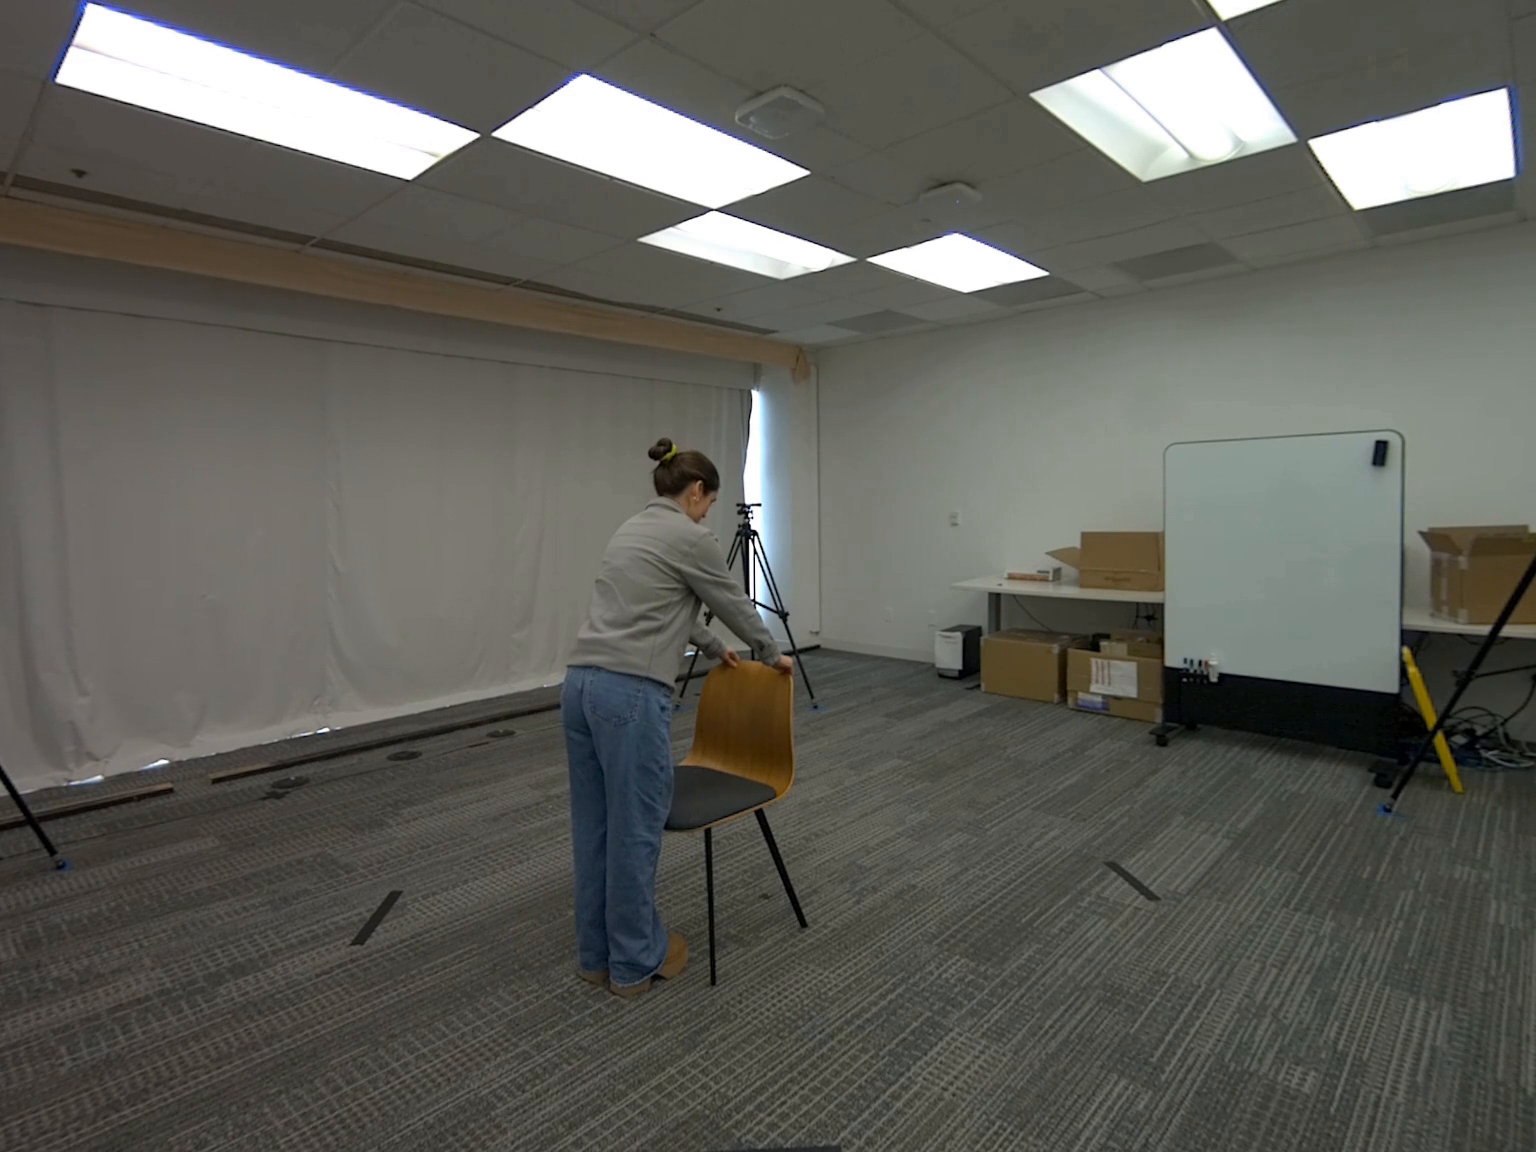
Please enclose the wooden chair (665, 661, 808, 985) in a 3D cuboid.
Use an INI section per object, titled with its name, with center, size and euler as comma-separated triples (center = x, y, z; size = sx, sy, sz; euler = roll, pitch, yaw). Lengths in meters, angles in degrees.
[wooden chair]
center = -0.191, 0.737, 2.718
size = 0.494, 0.877, 0.506
euler = 2, 0, 41
